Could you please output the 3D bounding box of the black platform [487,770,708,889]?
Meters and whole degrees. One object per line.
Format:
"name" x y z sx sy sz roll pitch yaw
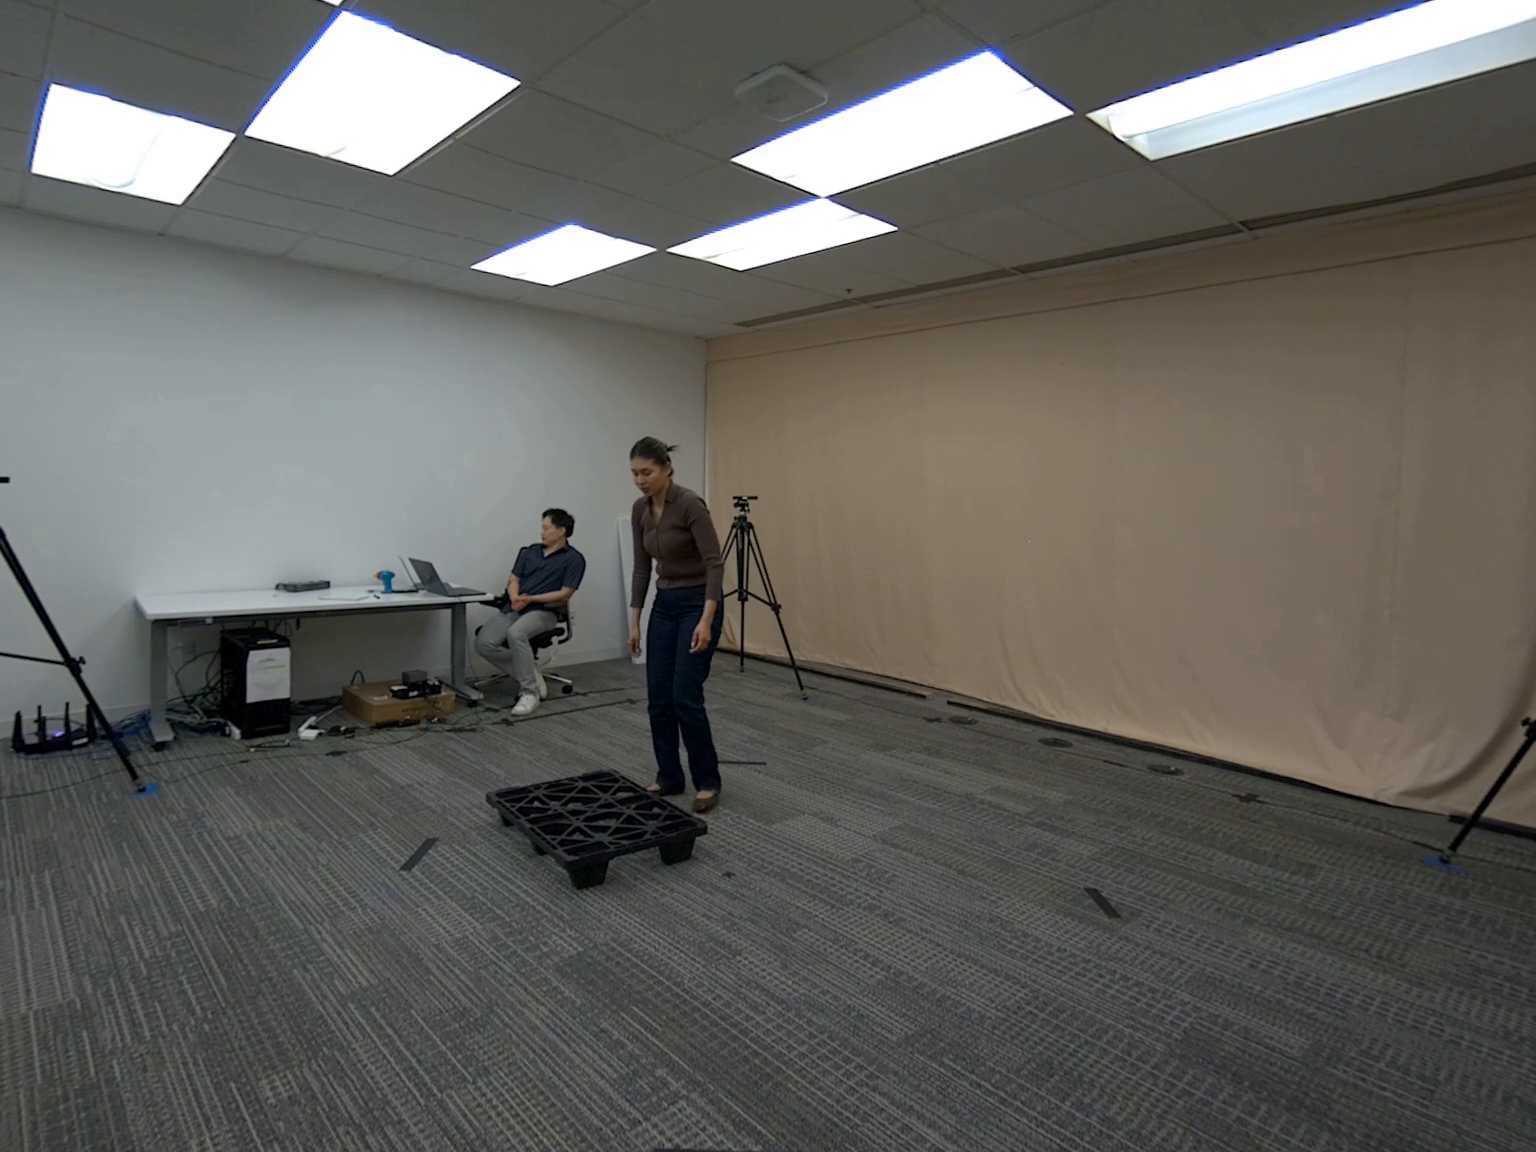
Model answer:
"black platform" -0.713 0.997 3.385 0.591 0.143 0.826 -2 6 -37
